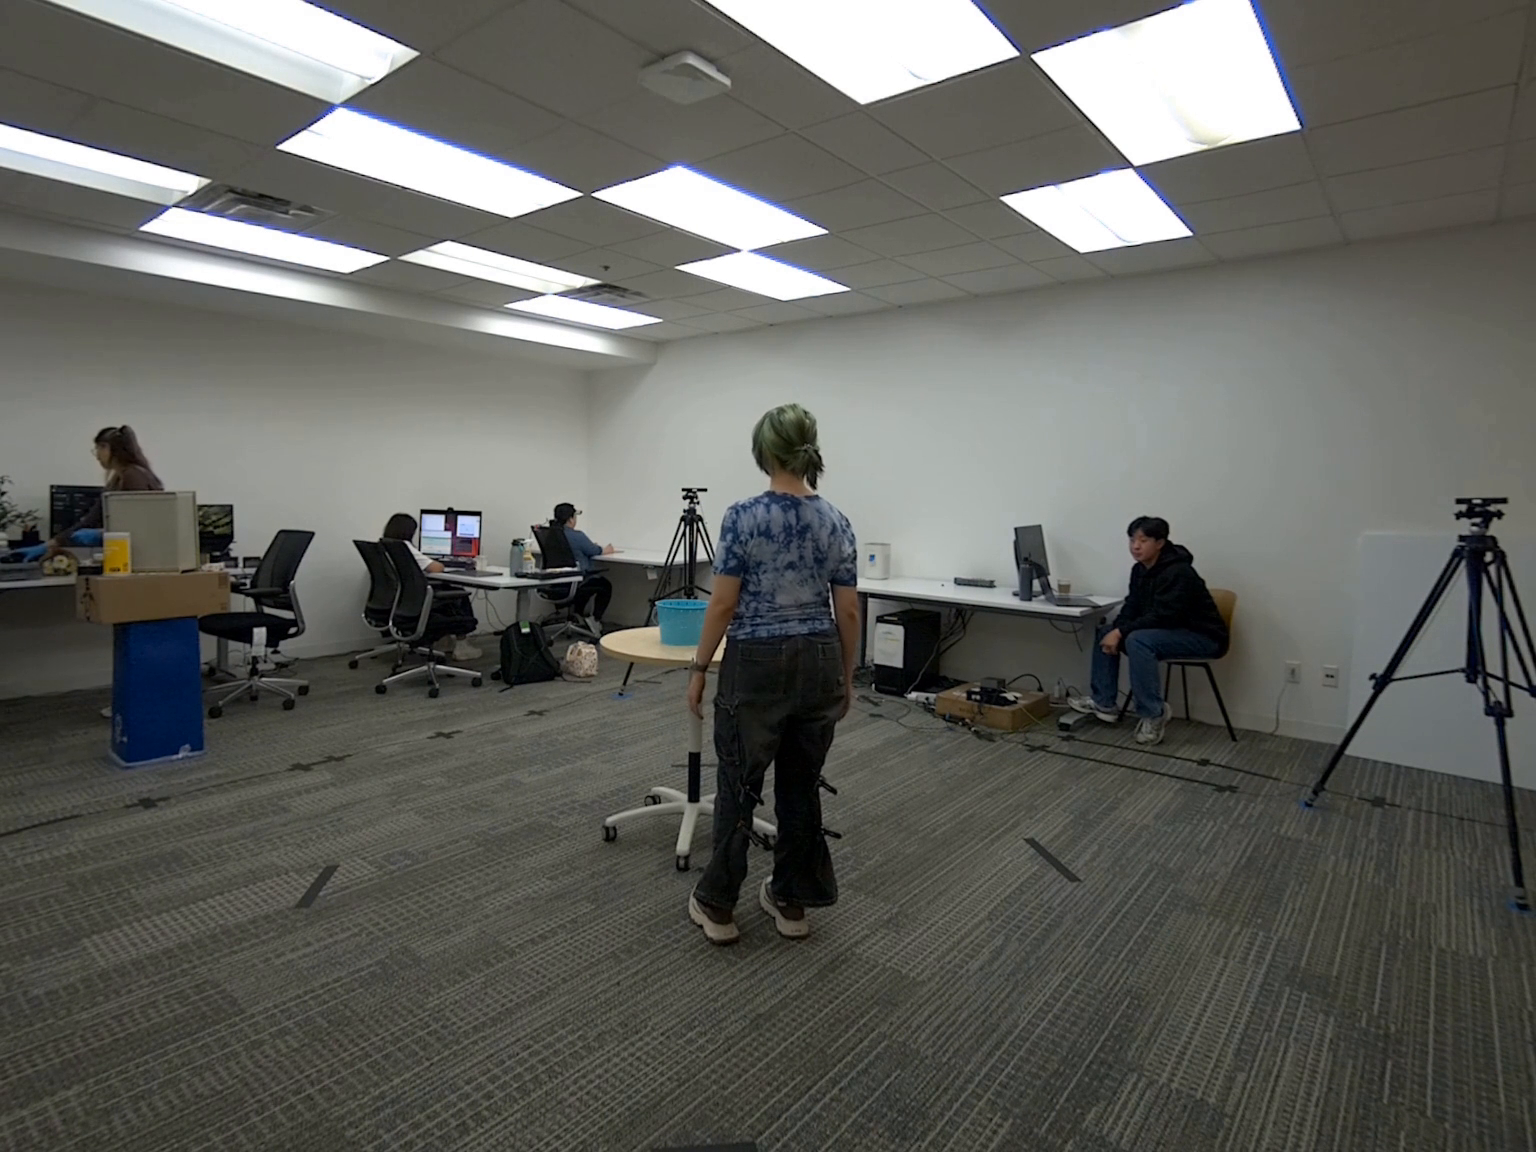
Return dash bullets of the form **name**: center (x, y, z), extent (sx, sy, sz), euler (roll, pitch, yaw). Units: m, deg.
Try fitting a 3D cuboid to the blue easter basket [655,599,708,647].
- **blue easter basket**: center (-0.344, 0.184, 3.368), extent (0.243, 0.155, 0.245), euler (1, 5, -2)
